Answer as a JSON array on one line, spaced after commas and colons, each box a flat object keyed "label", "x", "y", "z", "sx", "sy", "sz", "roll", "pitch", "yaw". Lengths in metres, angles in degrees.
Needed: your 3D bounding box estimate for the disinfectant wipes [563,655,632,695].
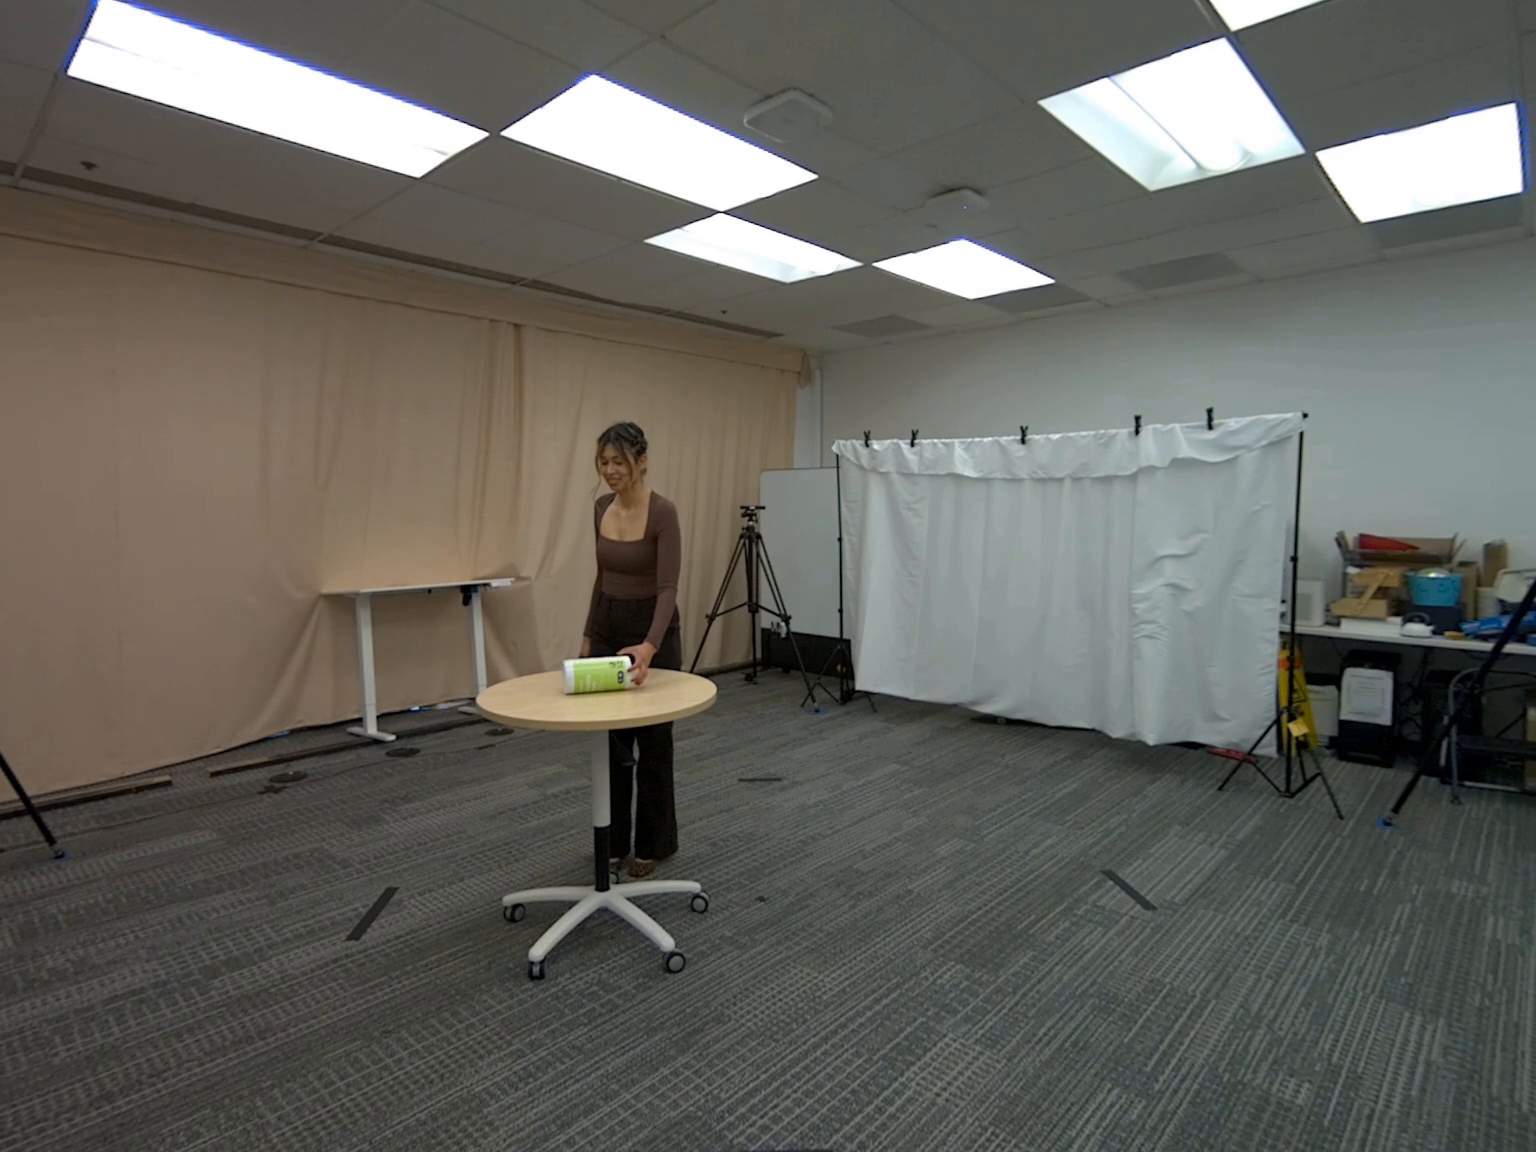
[{"label": "disinfectant wipes", "x": -0.552, "y": 0.317, "z": 2.721, "sx": 0.213, "sy": 0.117, "sz": 0.120, "roll": -1, "pitch": 4, "yaw": -18}]
